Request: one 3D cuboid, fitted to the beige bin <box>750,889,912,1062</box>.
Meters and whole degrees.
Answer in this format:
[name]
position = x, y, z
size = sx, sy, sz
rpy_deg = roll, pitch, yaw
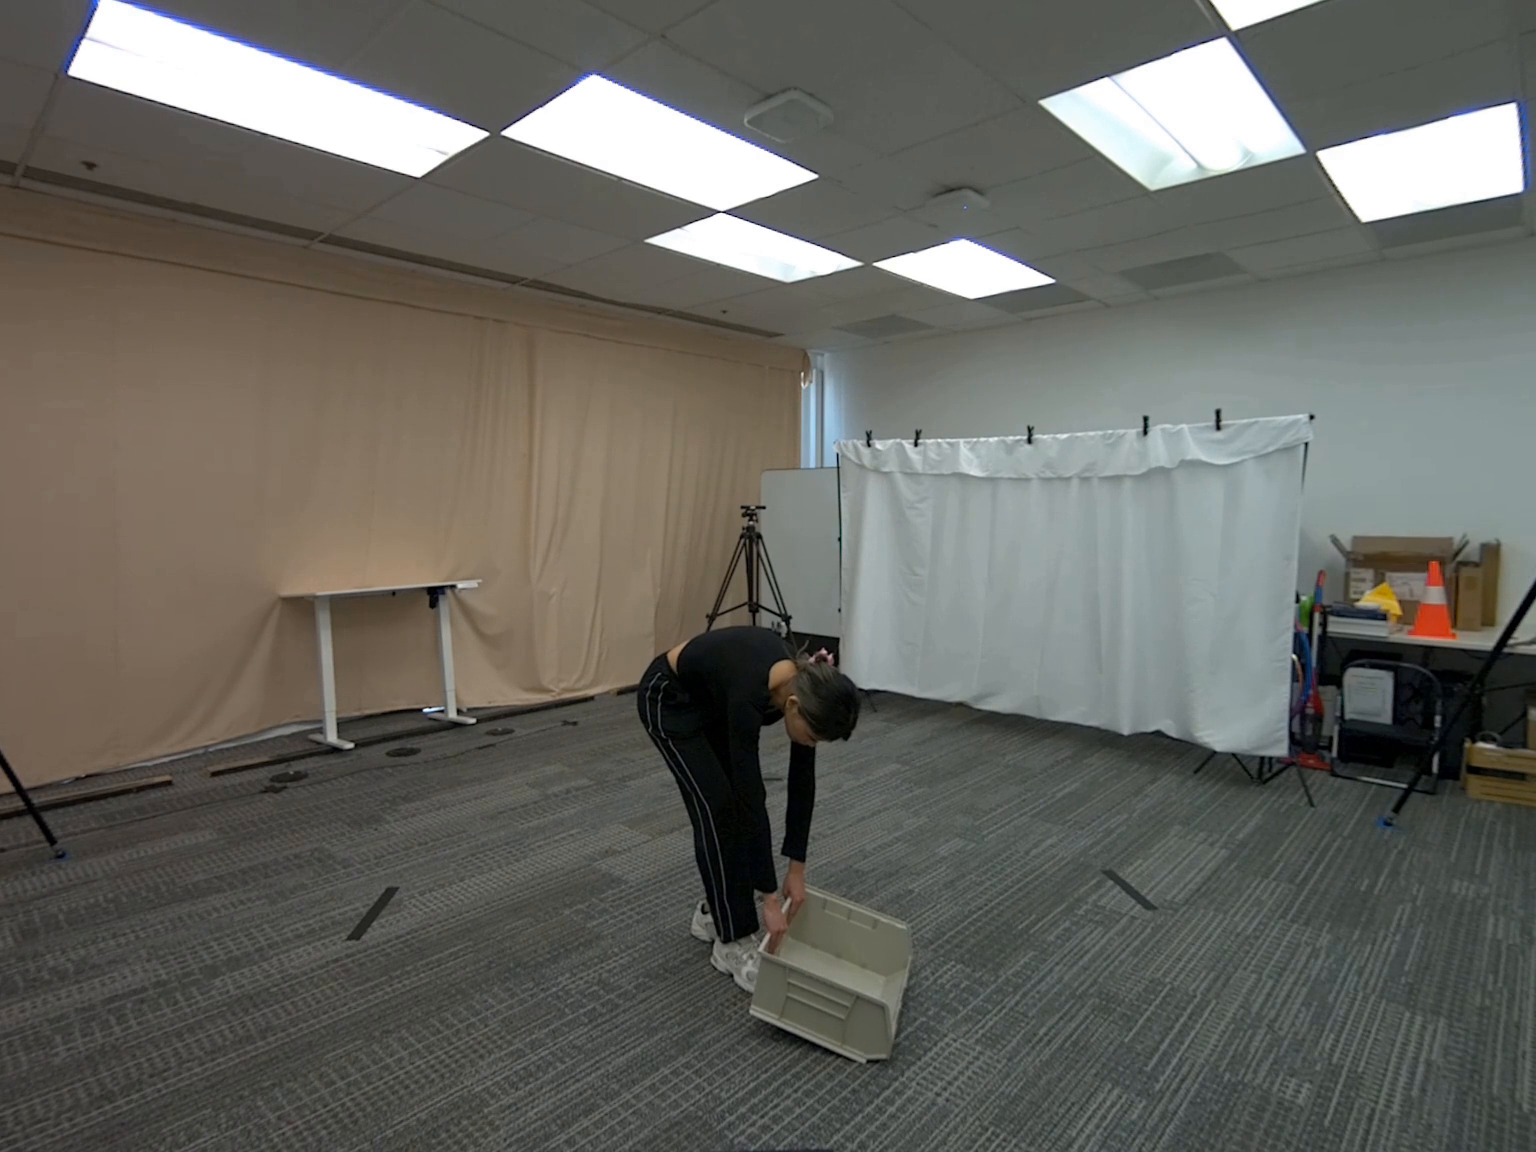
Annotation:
[beige bin]
position = 0.198, 1.083, 2.325
size = 0.384, 0.188, 0.417
rpy_deg = 13, 9, 14
